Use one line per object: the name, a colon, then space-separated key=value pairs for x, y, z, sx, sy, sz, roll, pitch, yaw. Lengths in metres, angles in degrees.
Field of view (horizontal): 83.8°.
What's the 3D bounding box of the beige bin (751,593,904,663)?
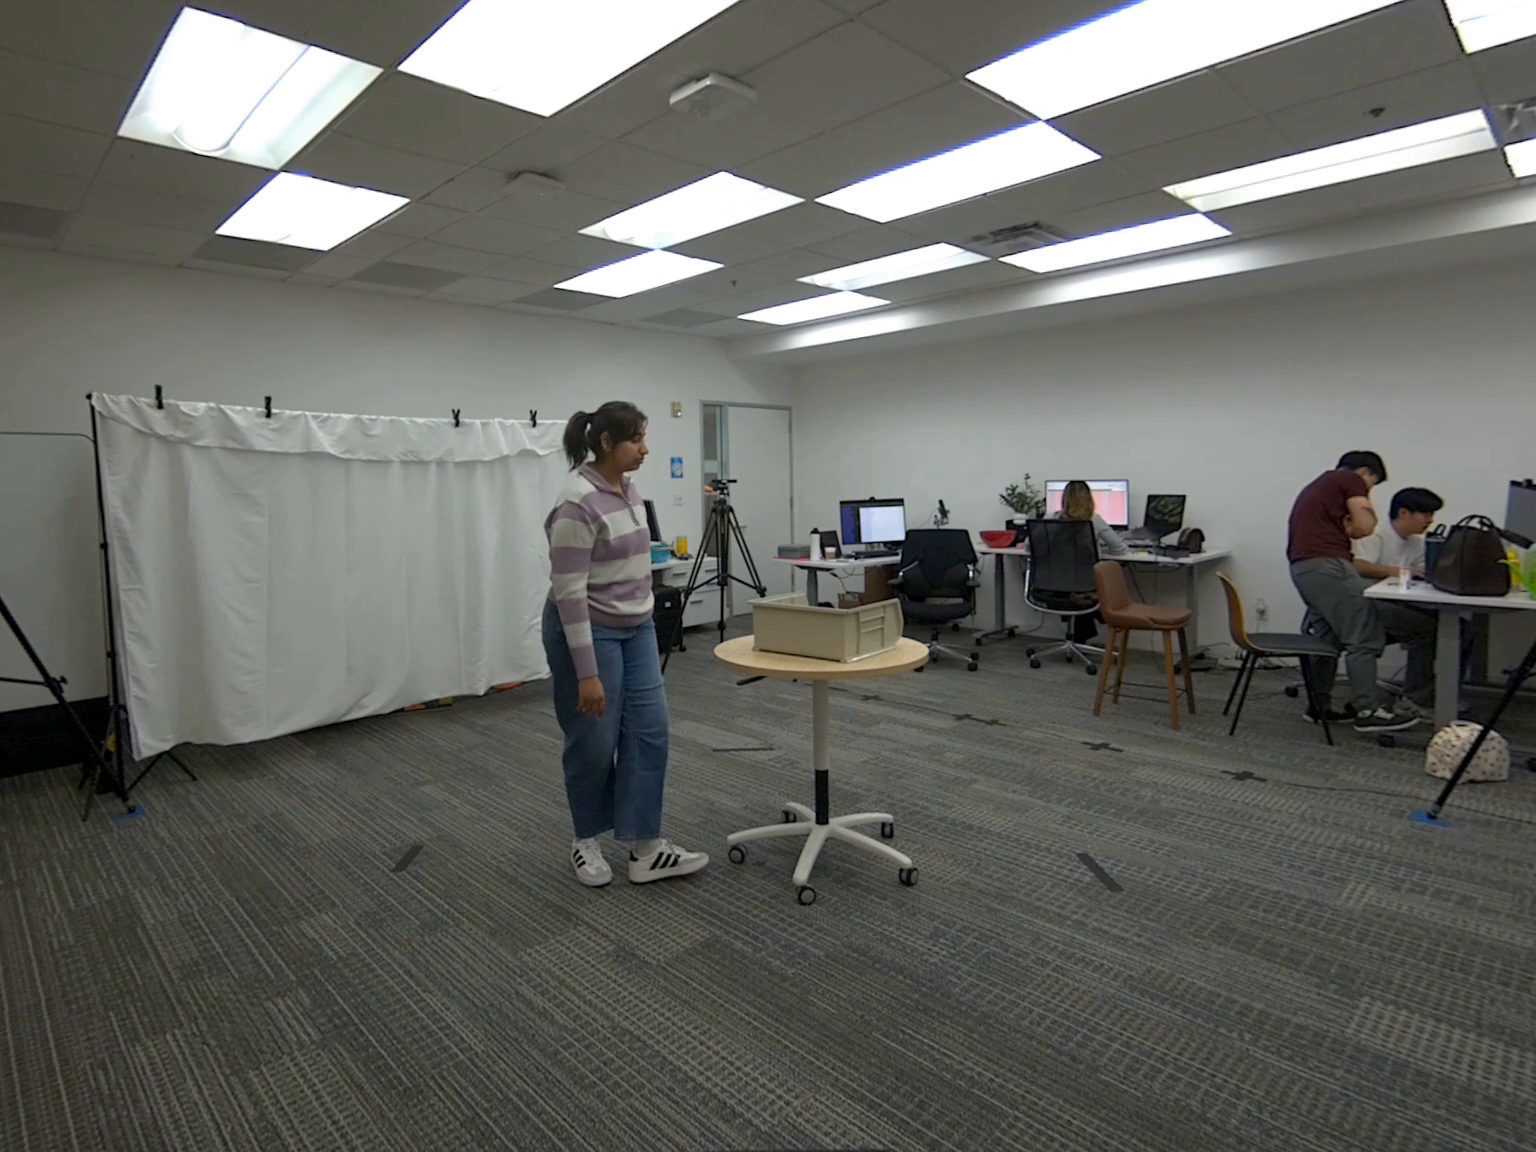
beige bin: x=0.206 y=0.173 z=3.063 sx=0.435 sy=0.188 sz=0.368 roll=4 pitch=9 yaw=39
